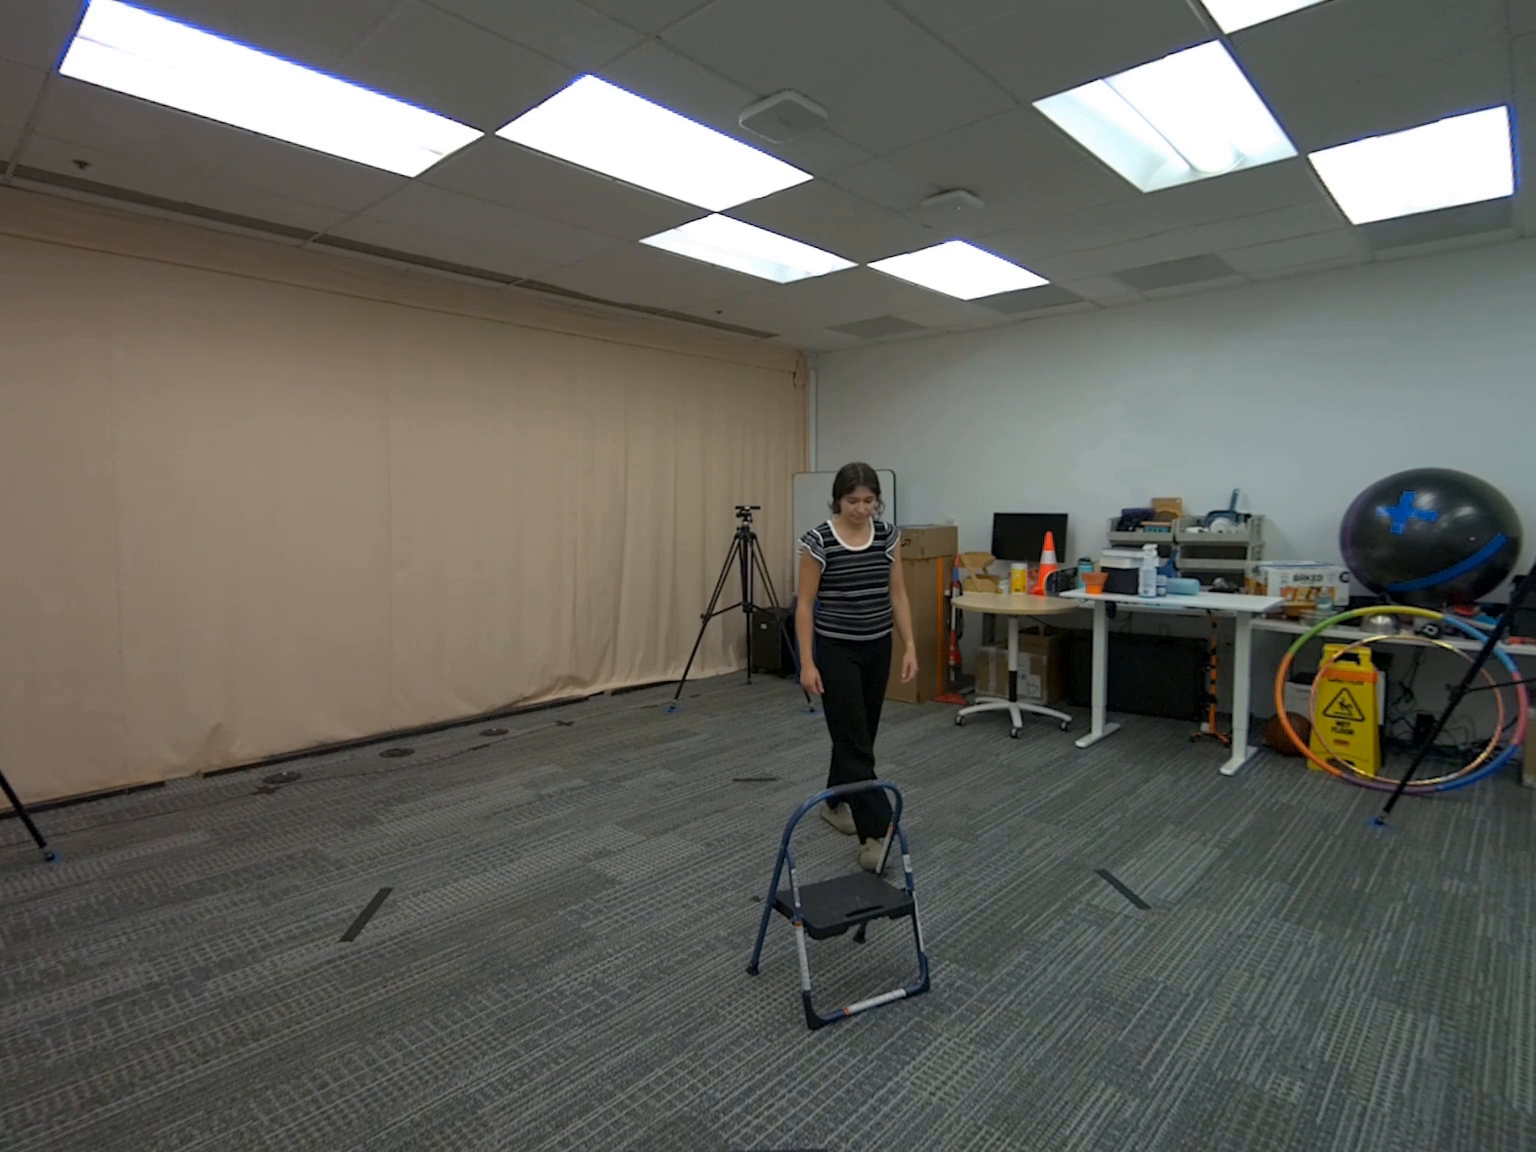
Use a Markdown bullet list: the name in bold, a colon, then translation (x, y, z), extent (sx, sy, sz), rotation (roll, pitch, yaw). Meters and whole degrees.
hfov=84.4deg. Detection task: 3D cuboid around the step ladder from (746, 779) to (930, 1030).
- **step ladder**: translation (0.206, 0.887, 2.455), extent (0.419, 0.604, 0.359), rotation (-2, 4, -30)
